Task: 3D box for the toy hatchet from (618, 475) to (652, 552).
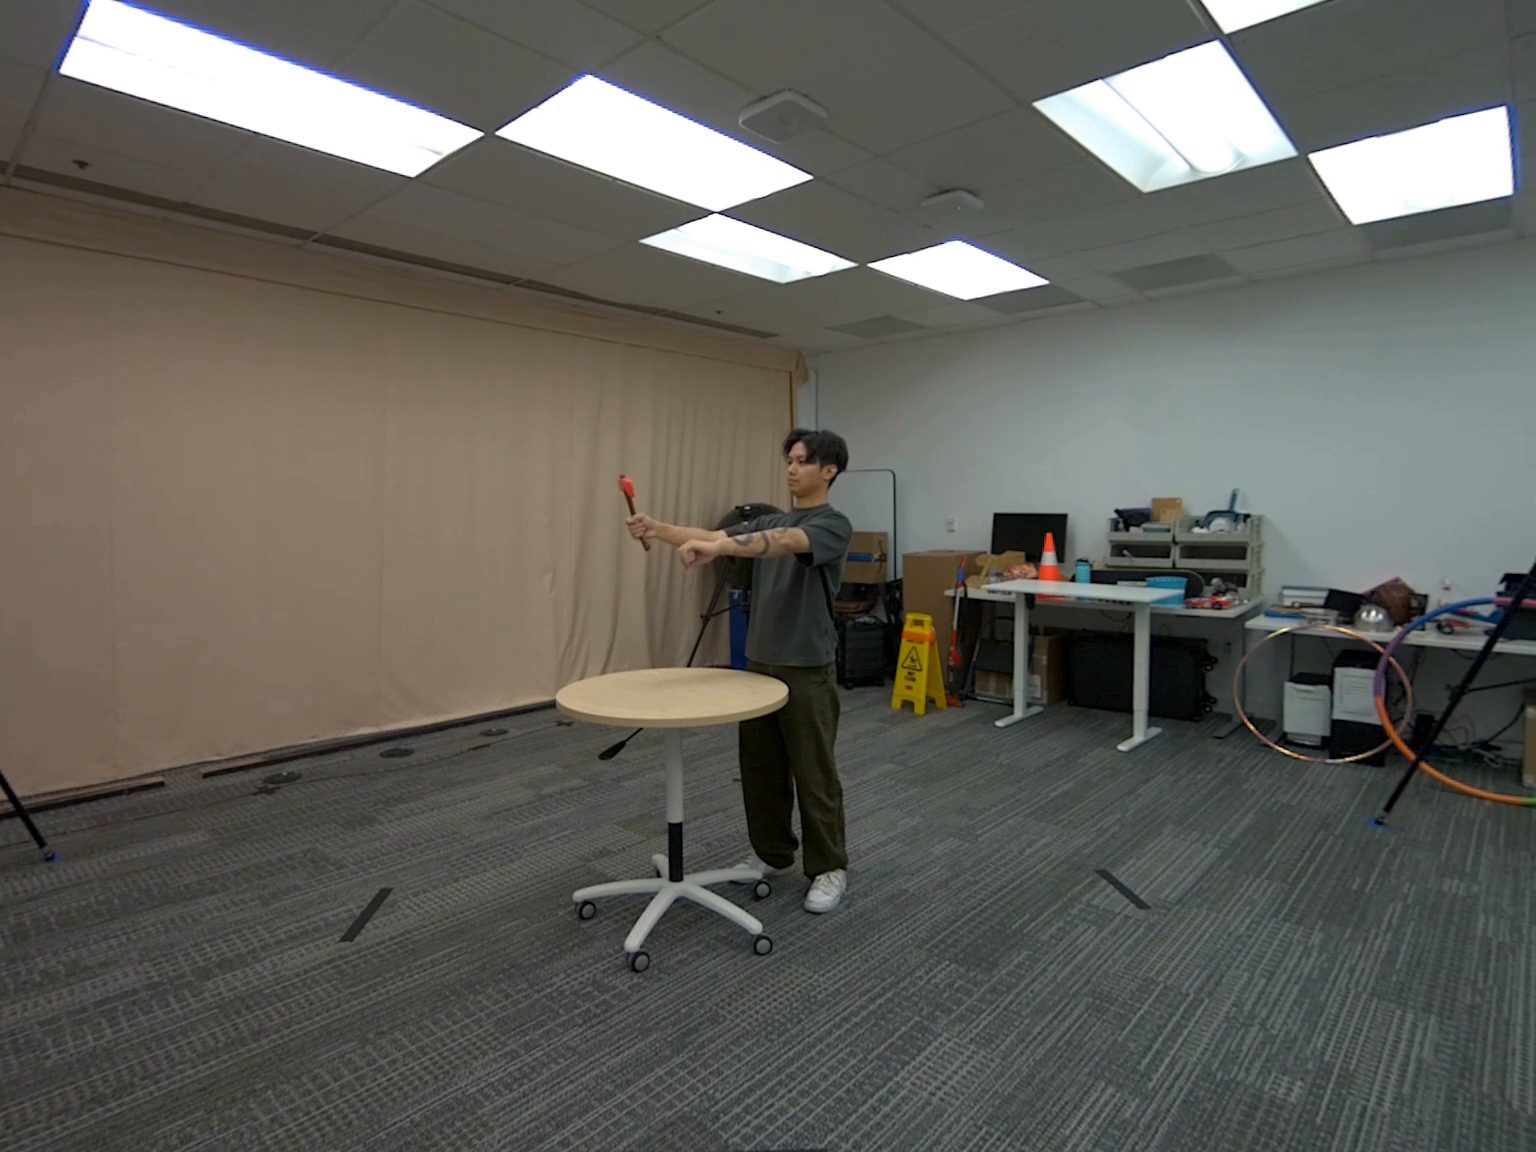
[{"bbox_3d":[-0.447,-0.210,2.895,0.029,0.272,0.132,-22,-7,-23],"label":"toy hatchet"}]
